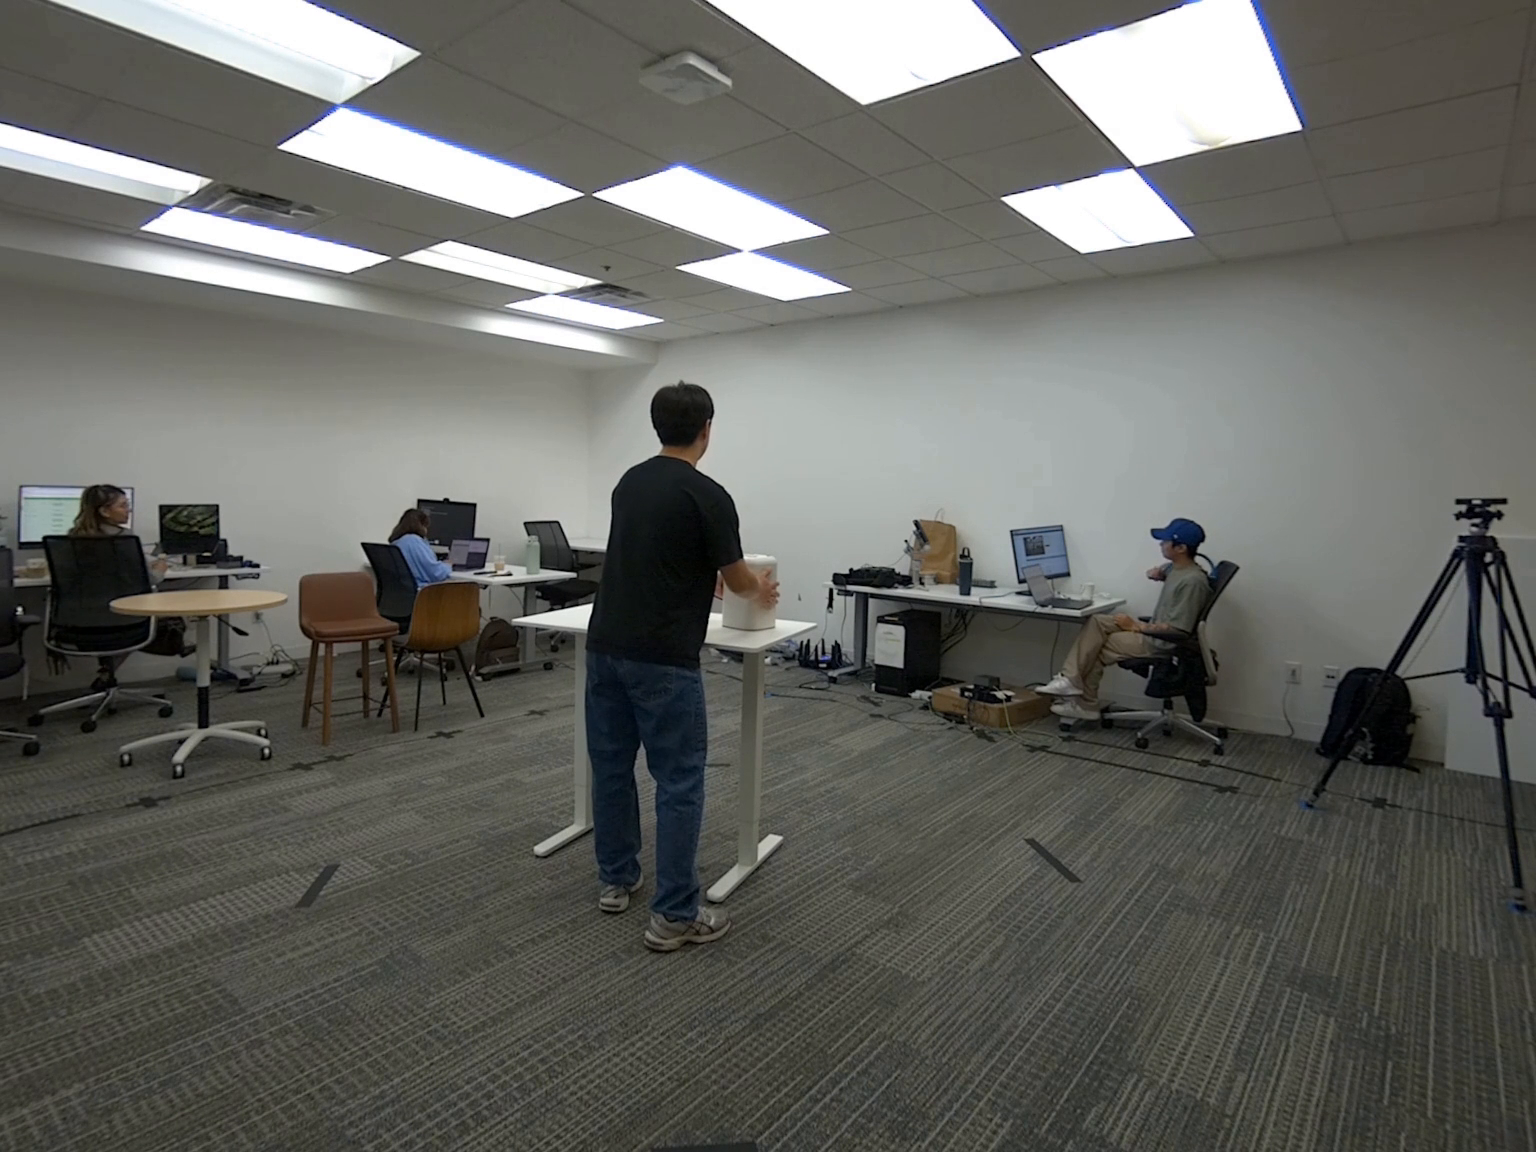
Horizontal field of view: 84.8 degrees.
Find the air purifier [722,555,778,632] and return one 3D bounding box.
[{"bbox_3d":[-0.077,0.054,3.158,0.177,0.265,0.166,5,4,38],"label":"air purifier"}]
